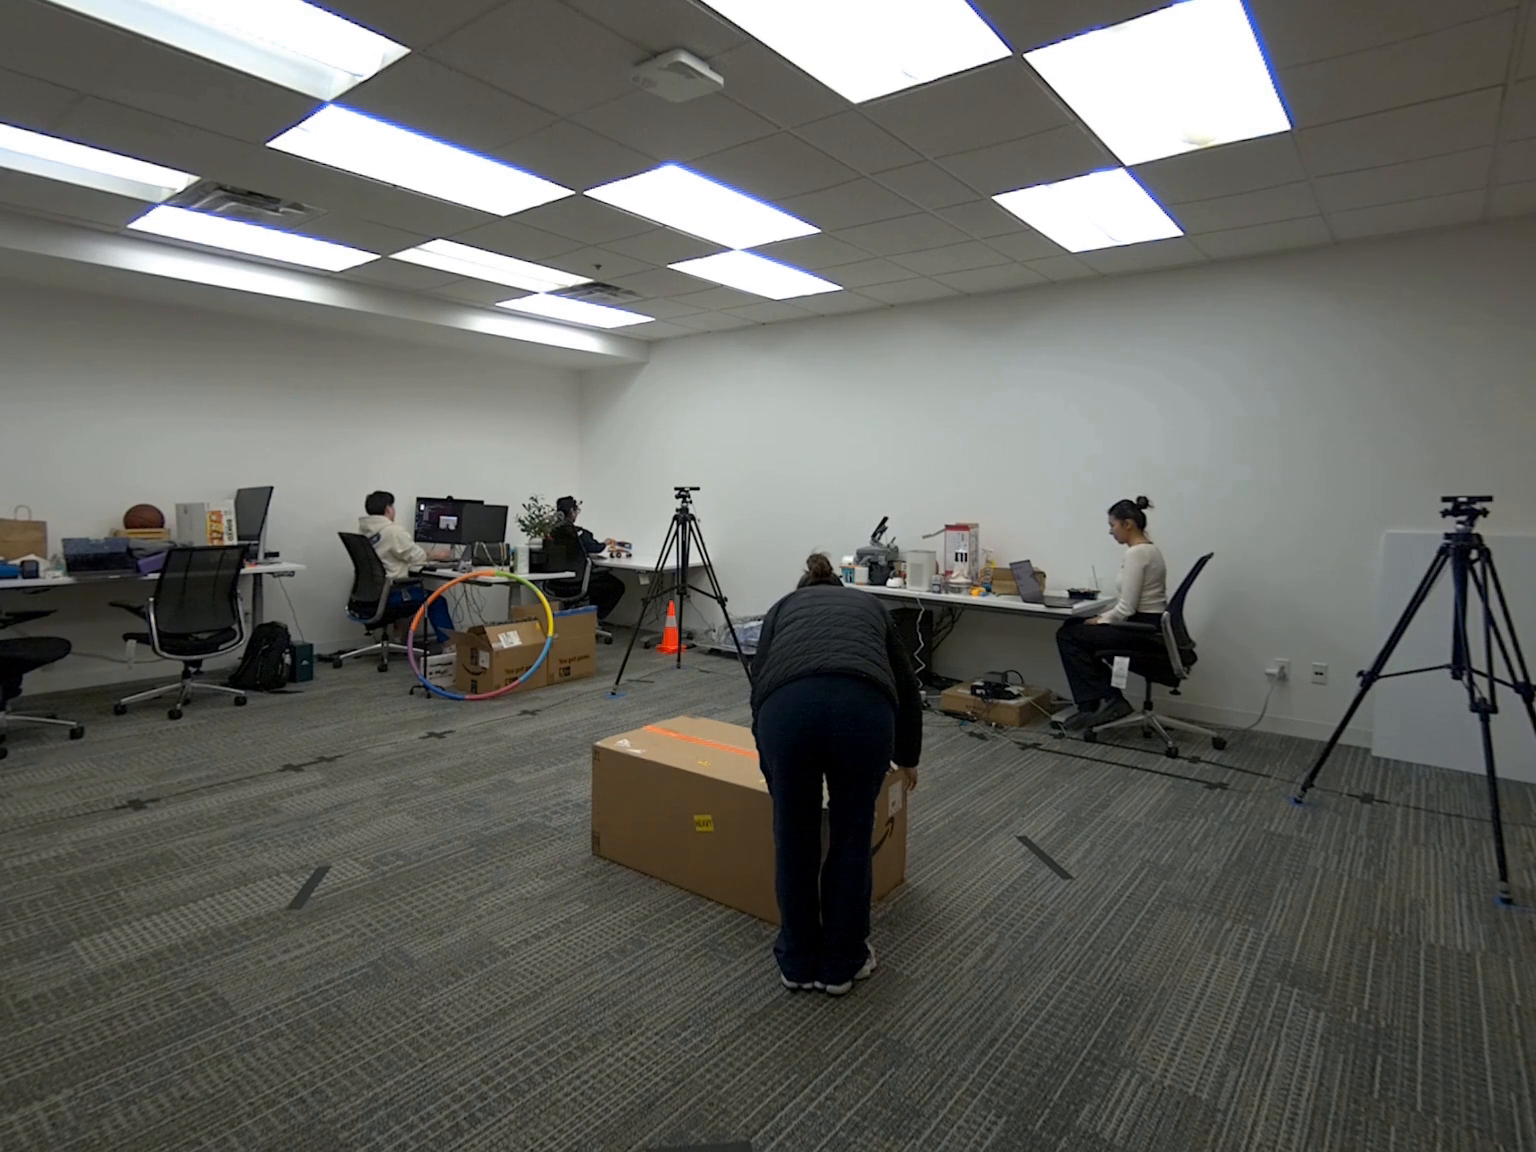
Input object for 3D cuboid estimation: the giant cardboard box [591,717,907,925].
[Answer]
[{"bbox_3d":[-0.072,0.852,3.135,1.059,0.424,0.561,5,7,36],"label":"giant cardboard box"}]
